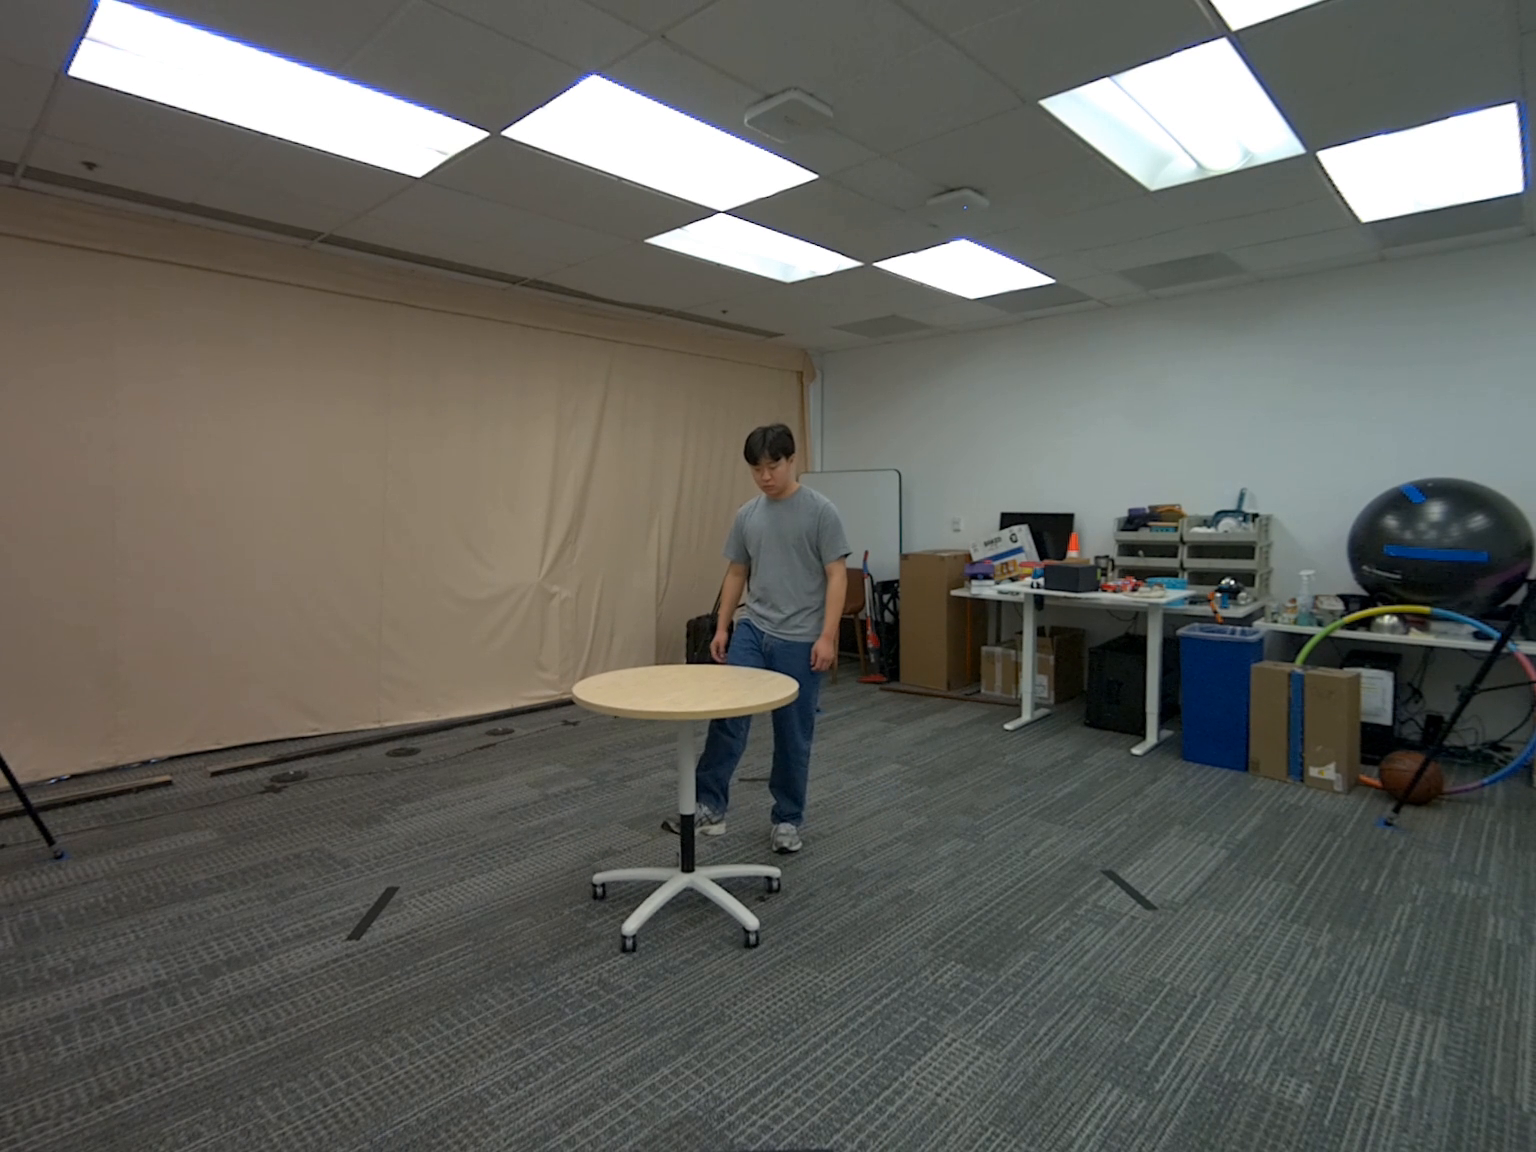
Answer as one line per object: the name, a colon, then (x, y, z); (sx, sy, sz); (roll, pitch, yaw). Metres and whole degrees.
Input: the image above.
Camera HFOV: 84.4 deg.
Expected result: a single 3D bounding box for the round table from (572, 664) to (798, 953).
round table: (-0.276, 0.765, 2.888); (0.763, 0.792, 0.766); (-1, 4, -2)
